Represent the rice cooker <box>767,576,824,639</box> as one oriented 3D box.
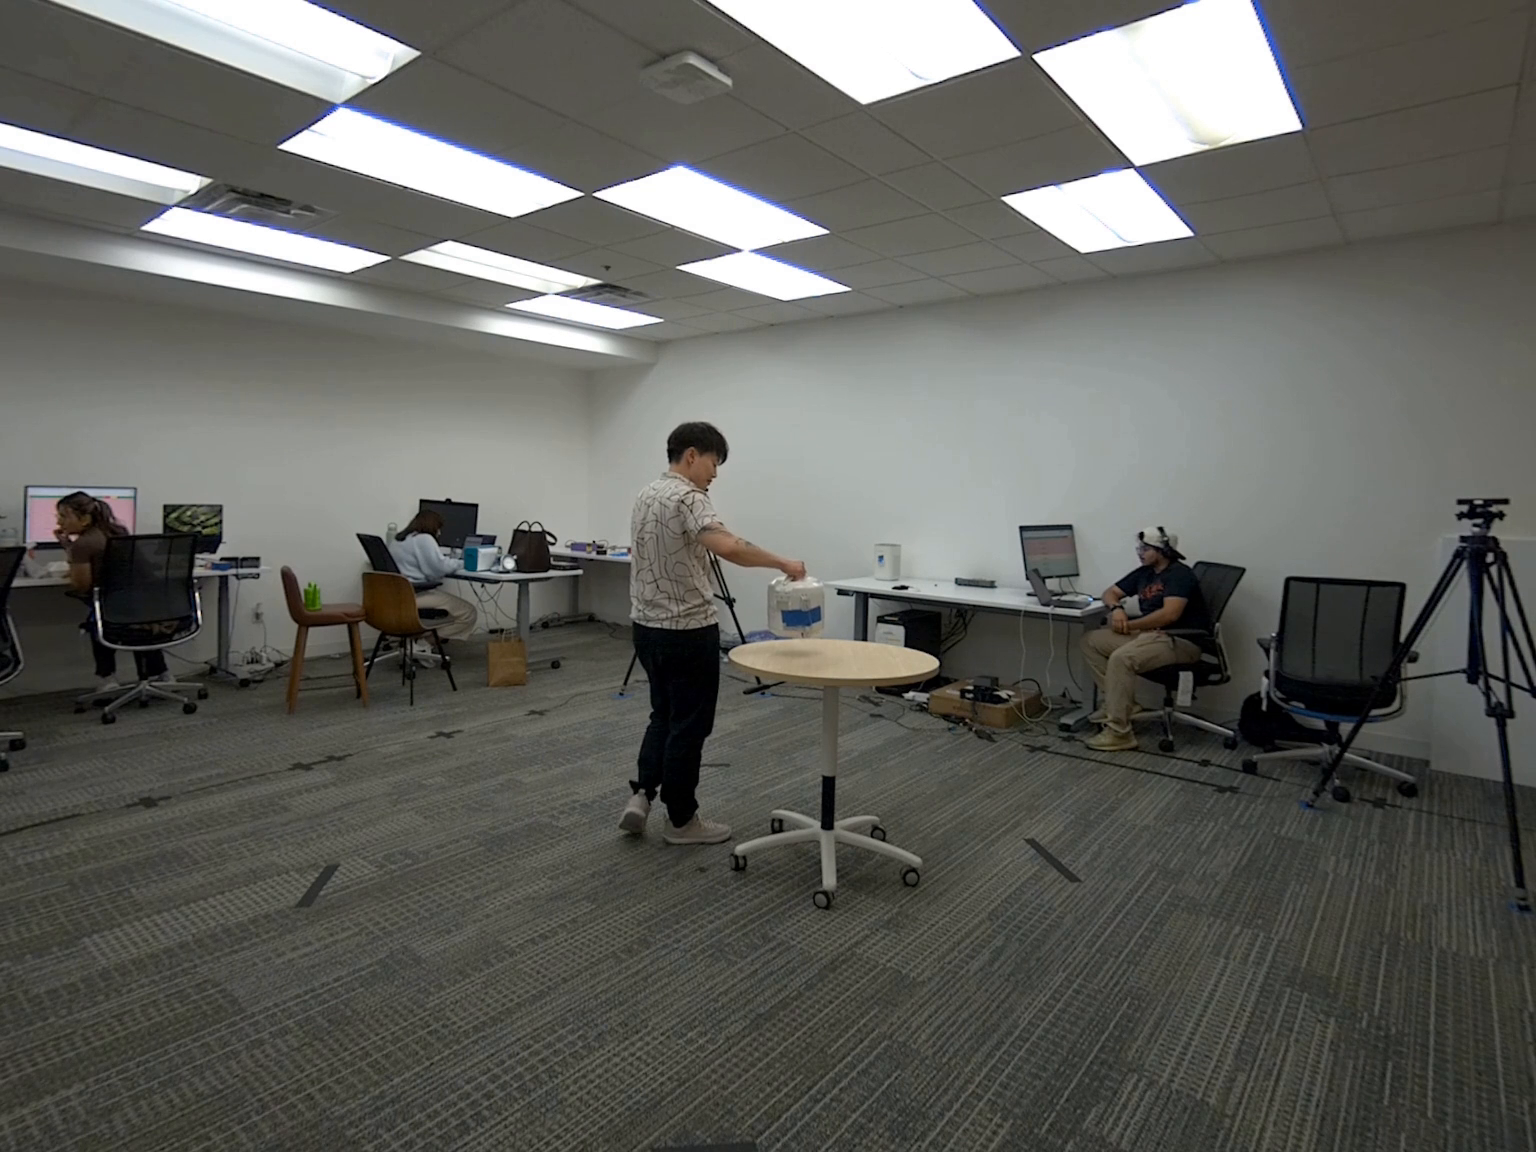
[{"bbox_3d":[0.094,0.099,3.177,0.224,0.231,0.215,5,7,31],"label":"rice cooker"}]
